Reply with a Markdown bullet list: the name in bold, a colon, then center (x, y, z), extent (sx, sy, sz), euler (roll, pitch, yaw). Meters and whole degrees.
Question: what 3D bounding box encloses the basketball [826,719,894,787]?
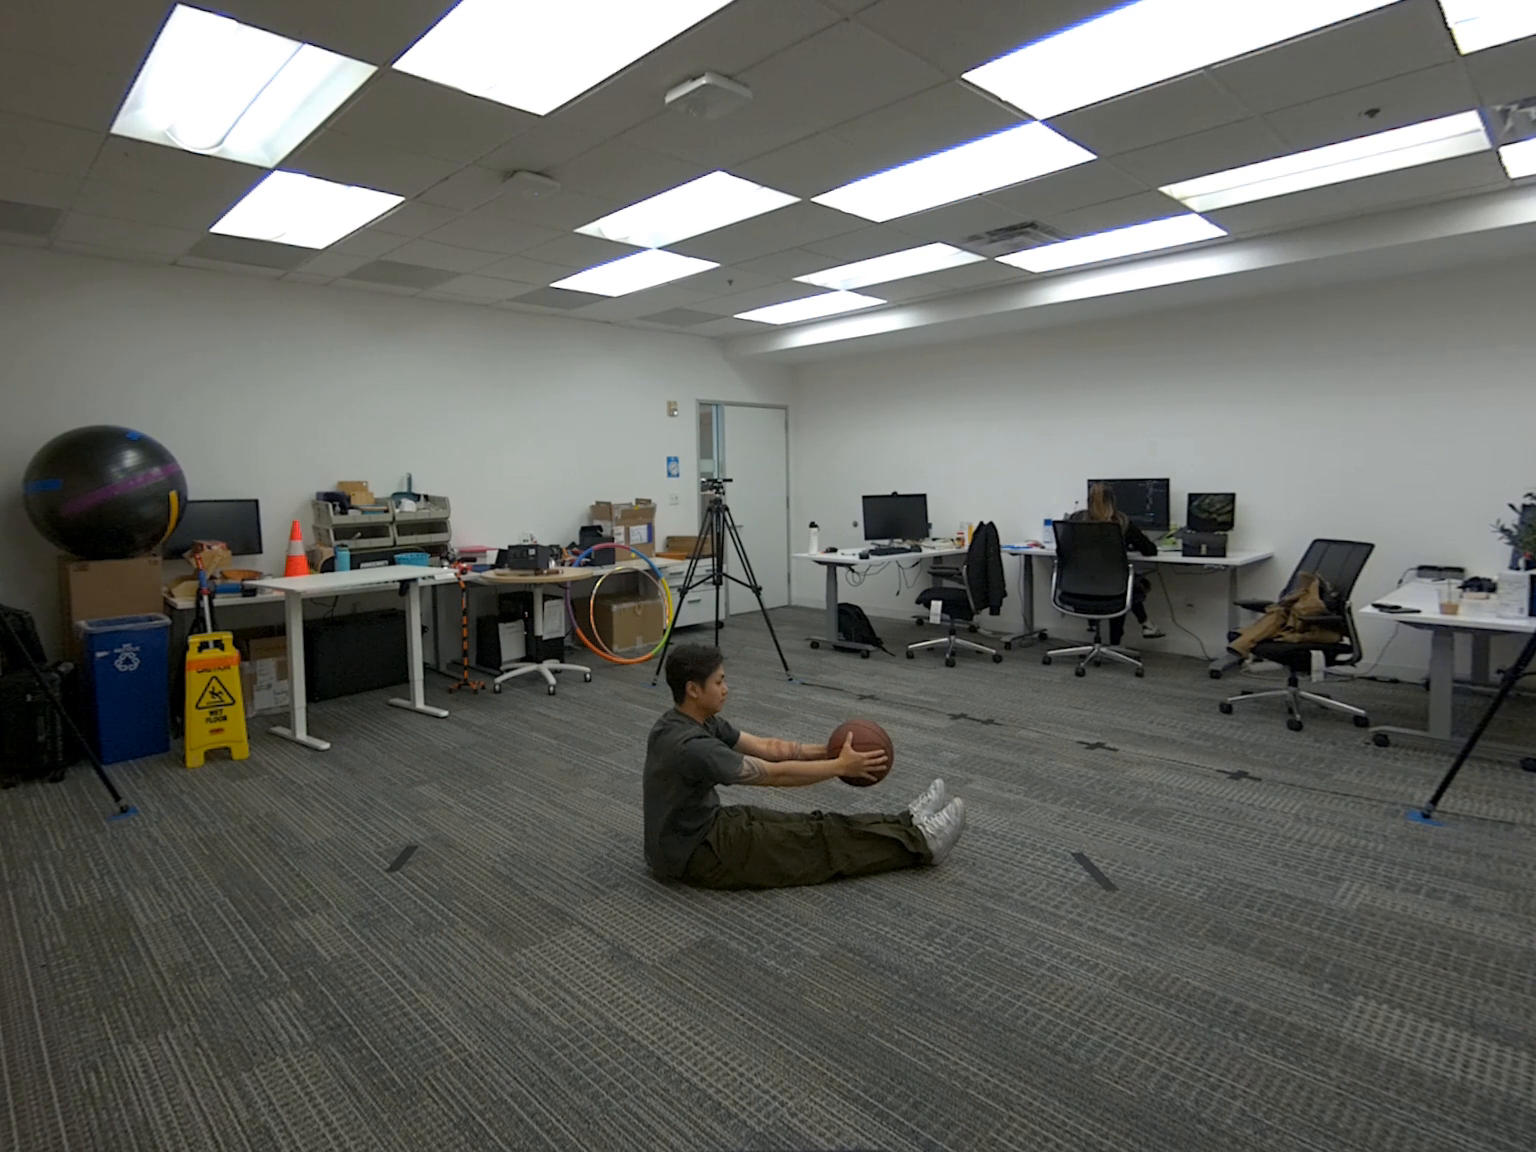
- **basketball**: center (0.333, 0.635, 3.089), extent (0.236, 0.235, 0.237), euler (-1, 5, -2)
